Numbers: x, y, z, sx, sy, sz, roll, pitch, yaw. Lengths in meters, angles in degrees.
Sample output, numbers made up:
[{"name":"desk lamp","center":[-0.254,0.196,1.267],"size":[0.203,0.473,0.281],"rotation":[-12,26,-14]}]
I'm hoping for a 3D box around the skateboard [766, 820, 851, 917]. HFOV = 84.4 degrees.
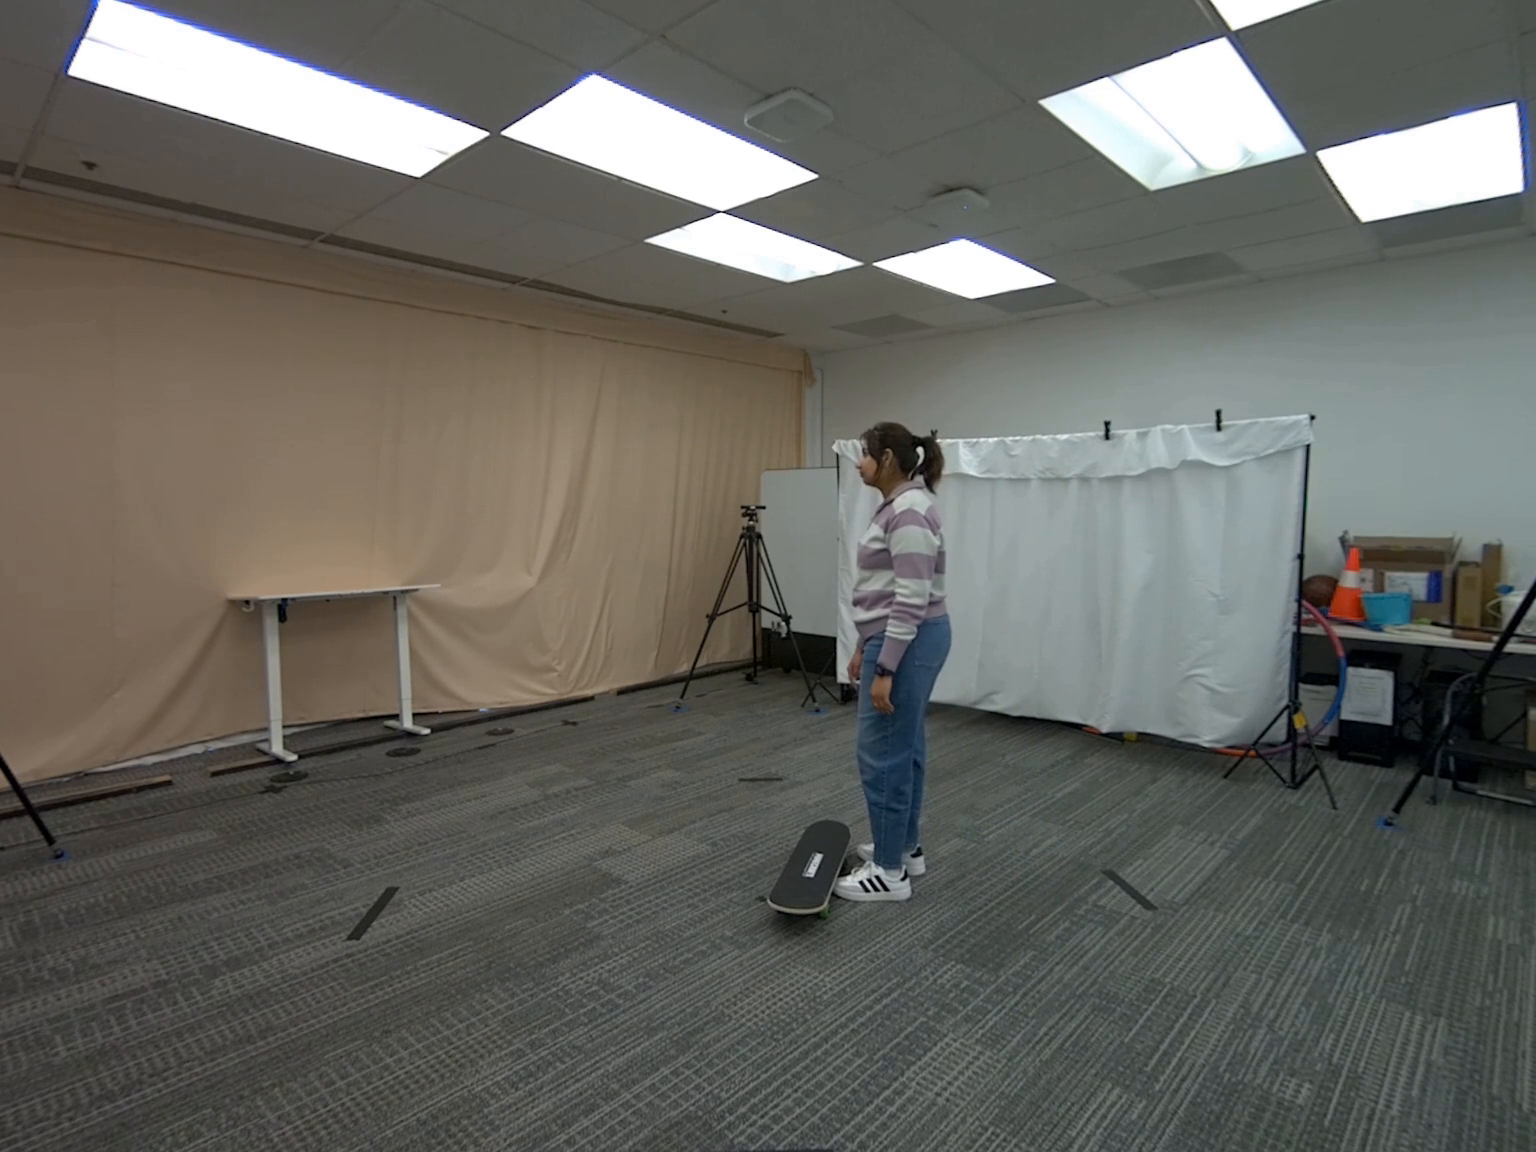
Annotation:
[{"name":"skateboard","center":[0.169,1.080,3.054],"size":[0.197,0.110,0.774],"rotation":[1,5,14]}]
